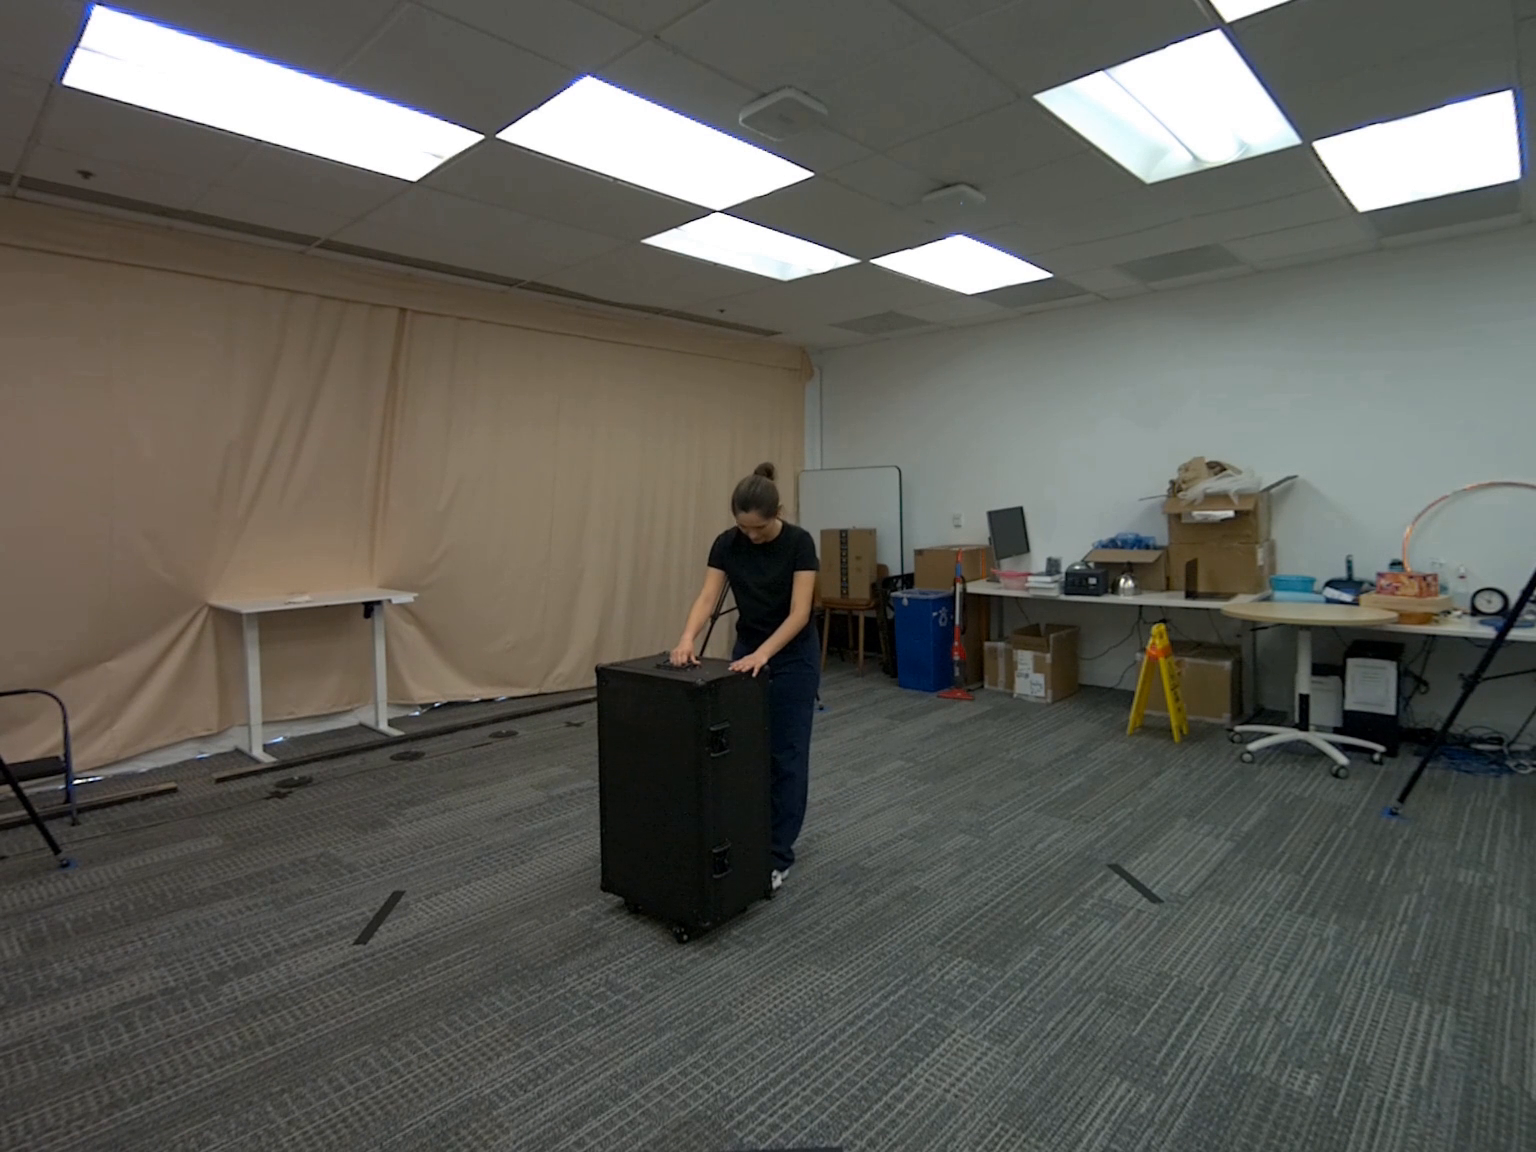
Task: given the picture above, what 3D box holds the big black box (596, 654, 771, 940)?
[{"bbox_3d":[-0.277,0.733,2.870,0.538,0.859,0.384,2,5,38],"label":"big black box"}]
